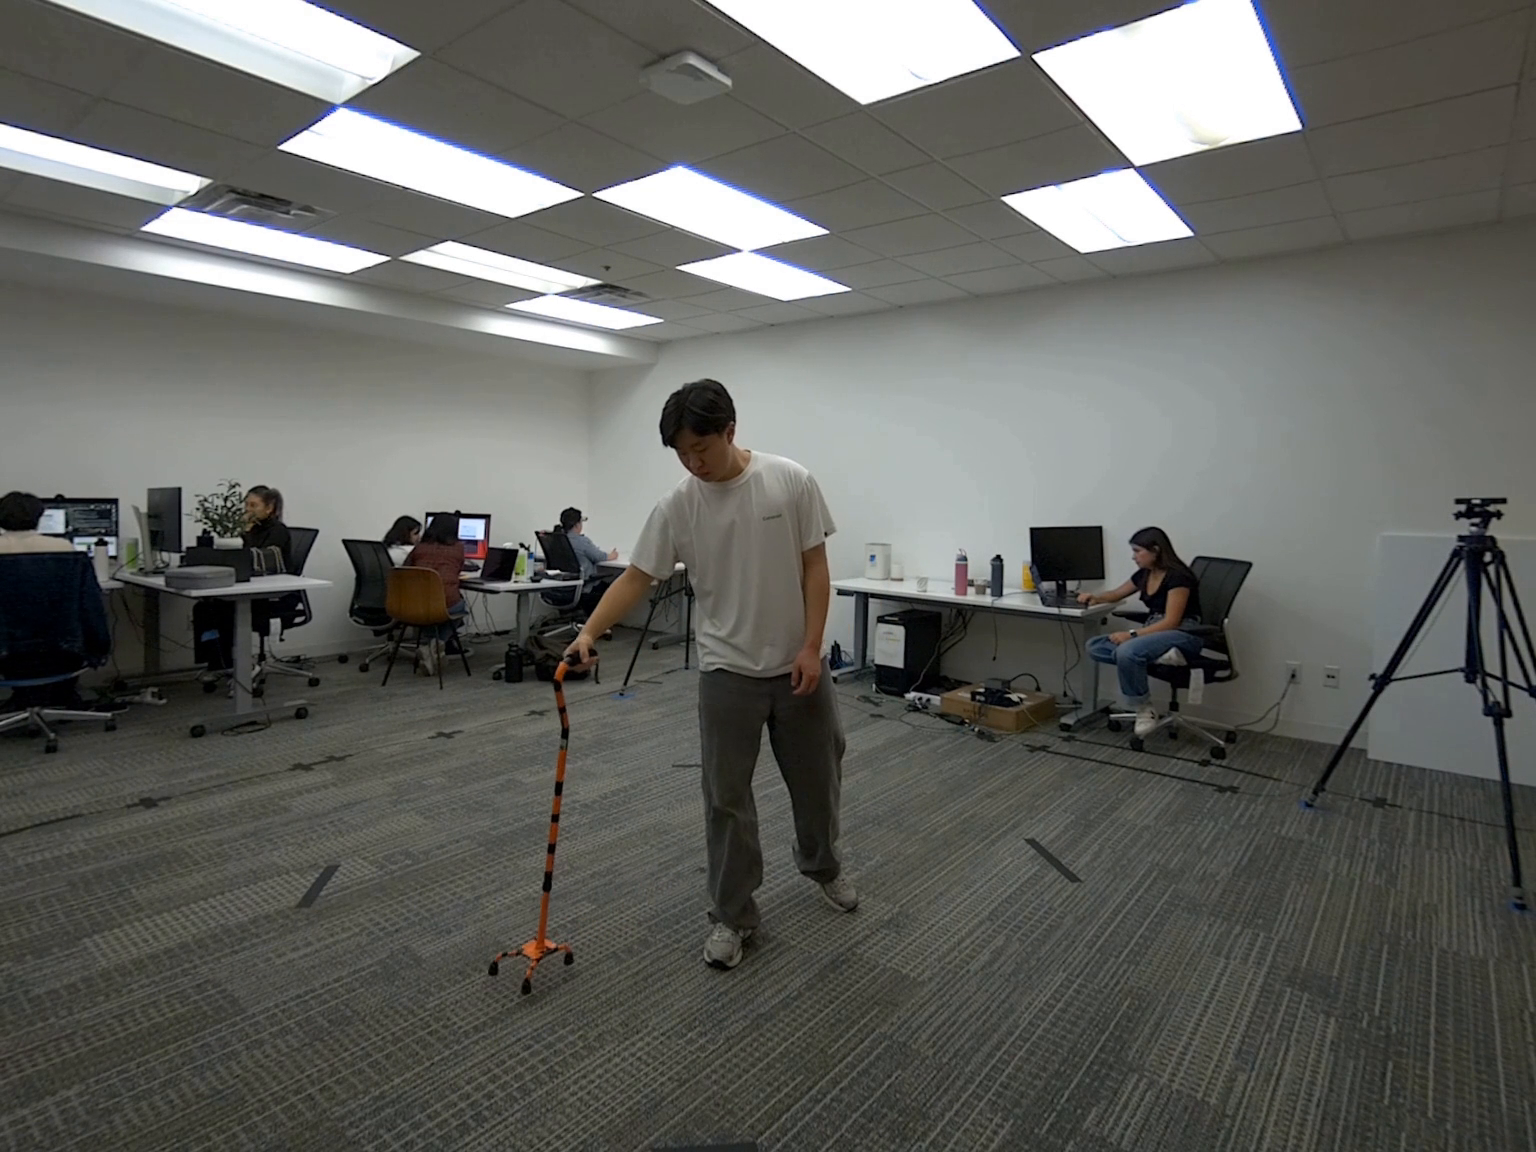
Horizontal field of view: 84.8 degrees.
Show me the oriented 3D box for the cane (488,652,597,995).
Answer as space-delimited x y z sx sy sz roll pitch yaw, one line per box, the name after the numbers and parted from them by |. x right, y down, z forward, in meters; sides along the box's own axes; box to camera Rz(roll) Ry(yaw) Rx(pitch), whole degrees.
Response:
-0.606 0.659 2.368 0.156 0.904 0.201 9 5 28 | cane
